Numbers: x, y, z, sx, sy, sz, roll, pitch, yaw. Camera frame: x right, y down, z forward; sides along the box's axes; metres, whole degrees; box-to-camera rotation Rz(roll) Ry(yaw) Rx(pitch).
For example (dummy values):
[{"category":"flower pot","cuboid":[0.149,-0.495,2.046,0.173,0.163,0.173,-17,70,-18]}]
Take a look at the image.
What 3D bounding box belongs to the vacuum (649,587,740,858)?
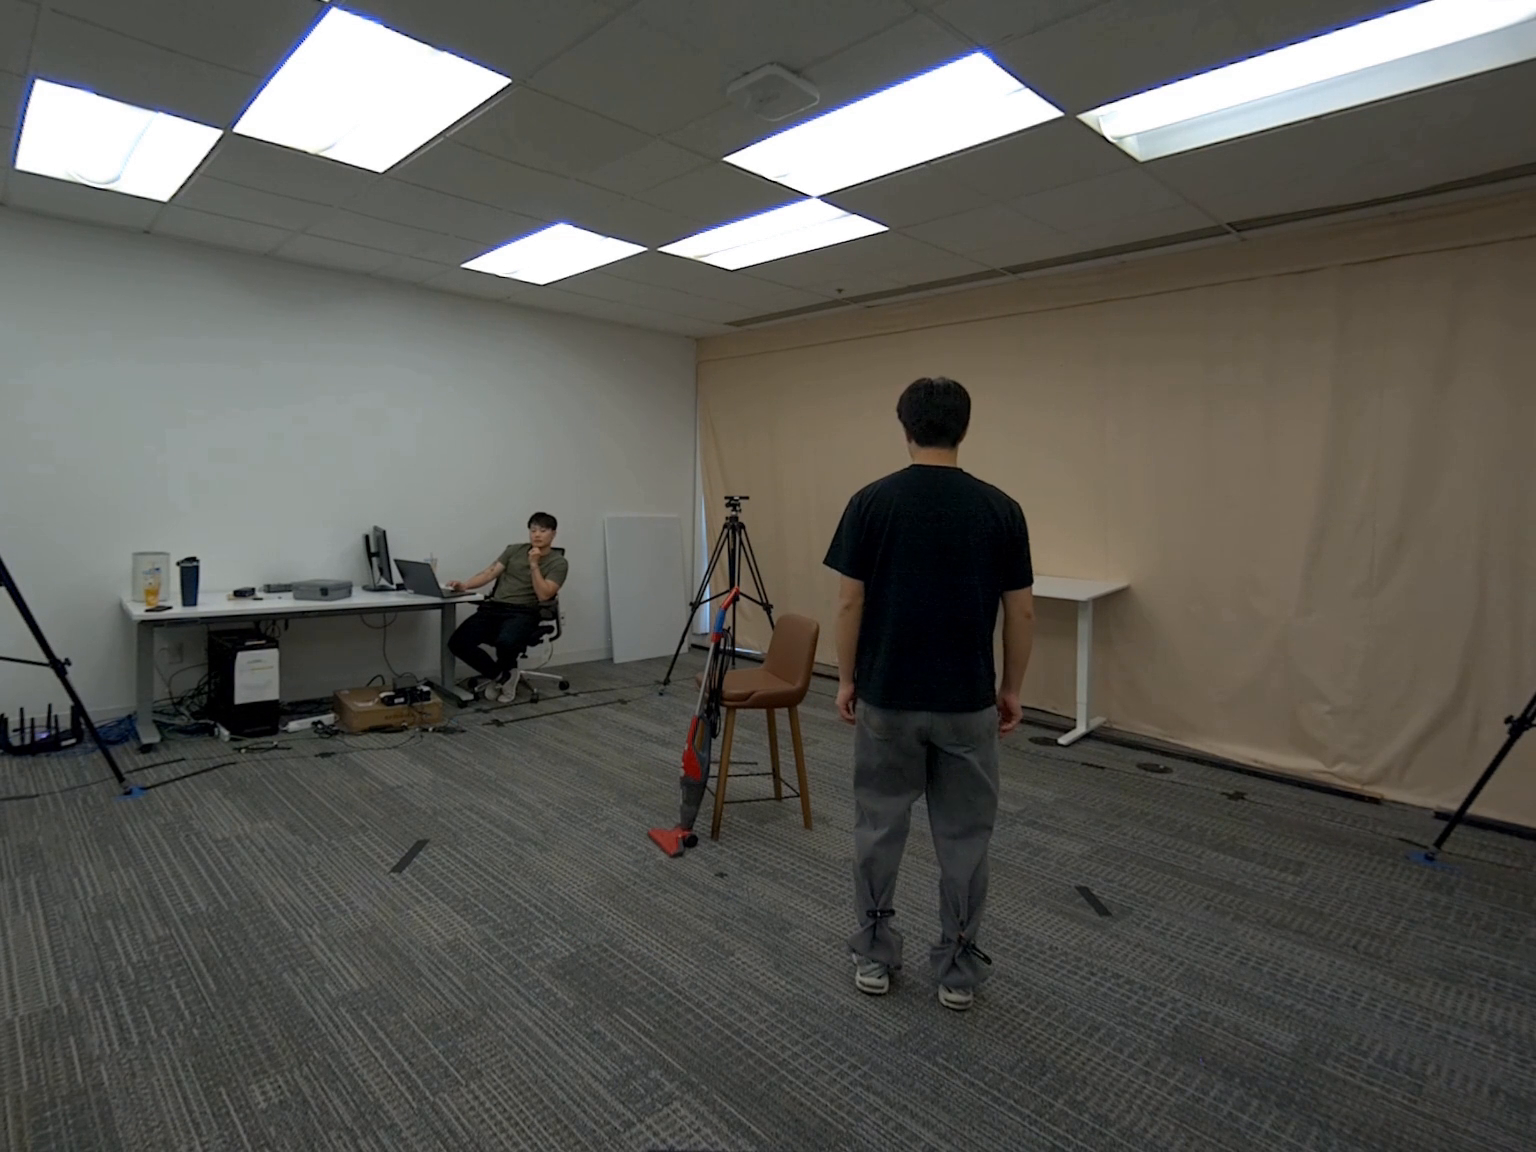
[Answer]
[{"category":"vacuum","cuboid":[-0.251,0.564,3.417,0.140,1.052,0.258,16,-6,-34]}]
